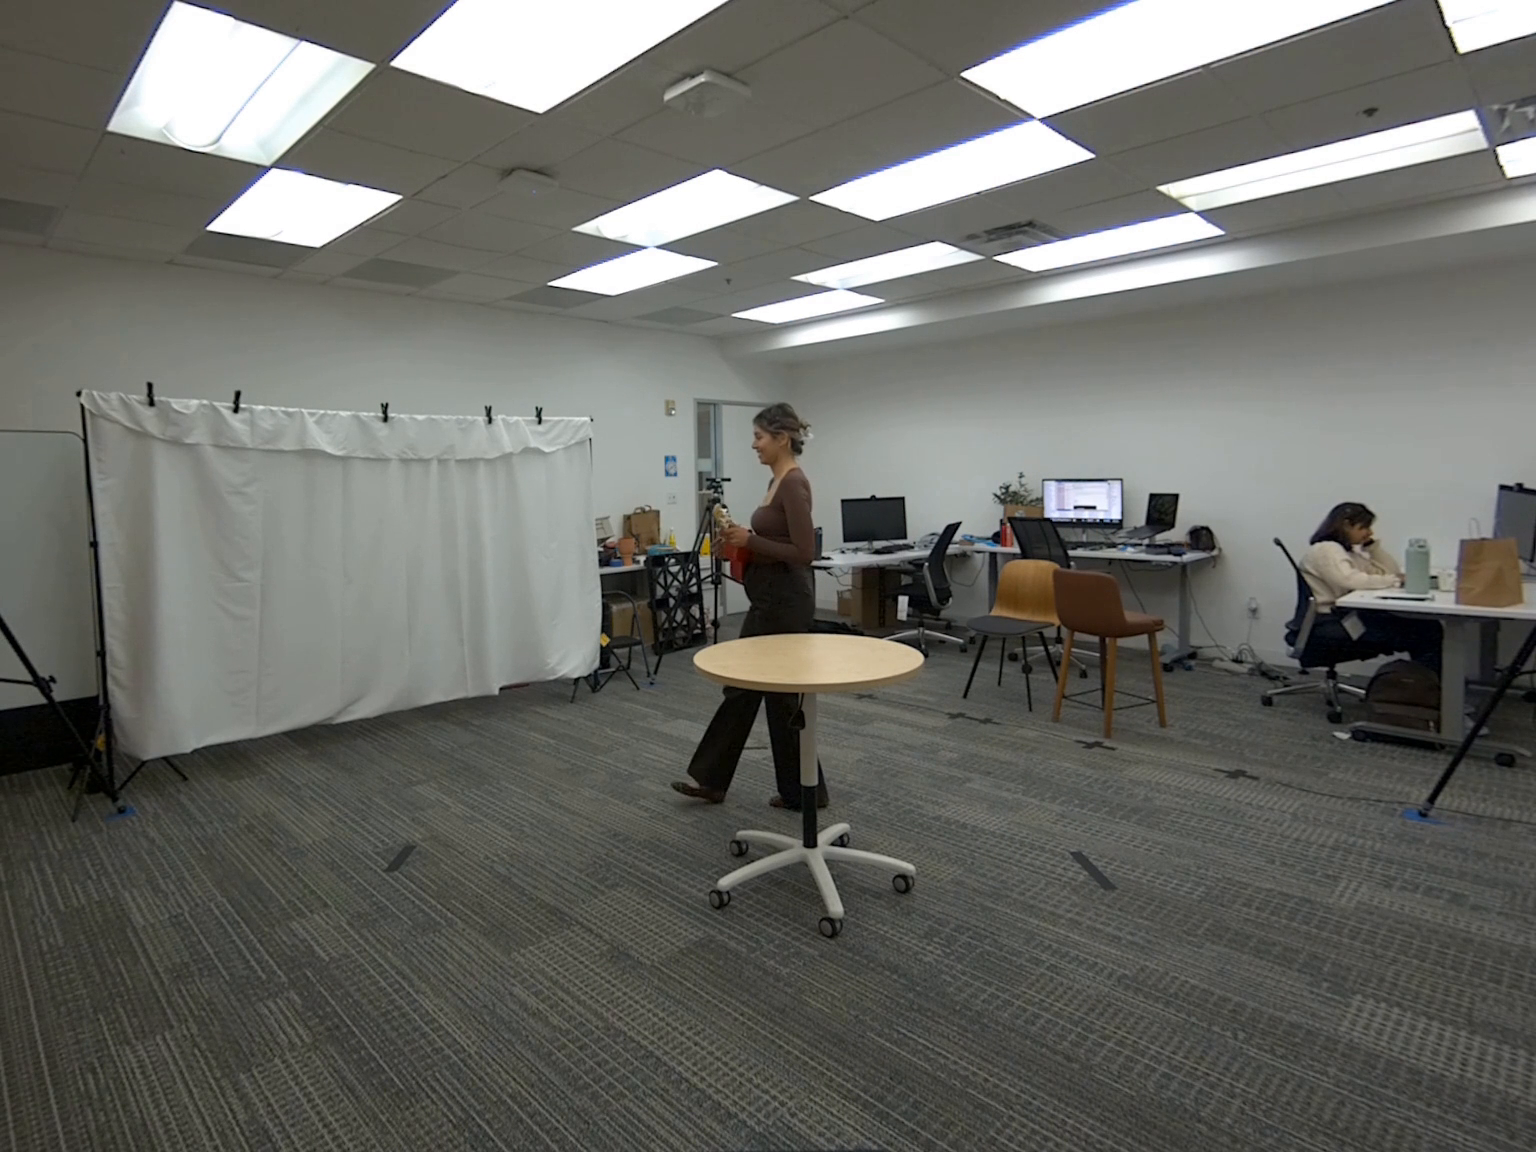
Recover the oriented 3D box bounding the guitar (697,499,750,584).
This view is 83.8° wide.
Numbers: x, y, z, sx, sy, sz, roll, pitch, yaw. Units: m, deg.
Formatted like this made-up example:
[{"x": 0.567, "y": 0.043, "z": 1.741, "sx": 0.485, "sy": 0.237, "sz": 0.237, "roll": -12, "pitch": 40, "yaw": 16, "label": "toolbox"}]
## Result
[{"x": -0.138, "y": -0.129, "z": 3.506, "sx": 0.072, "sy": 0.194, "sz": 0.483, "roll": 21, "pitch": -11, "yaw": 21, "label": "guitar"}]
